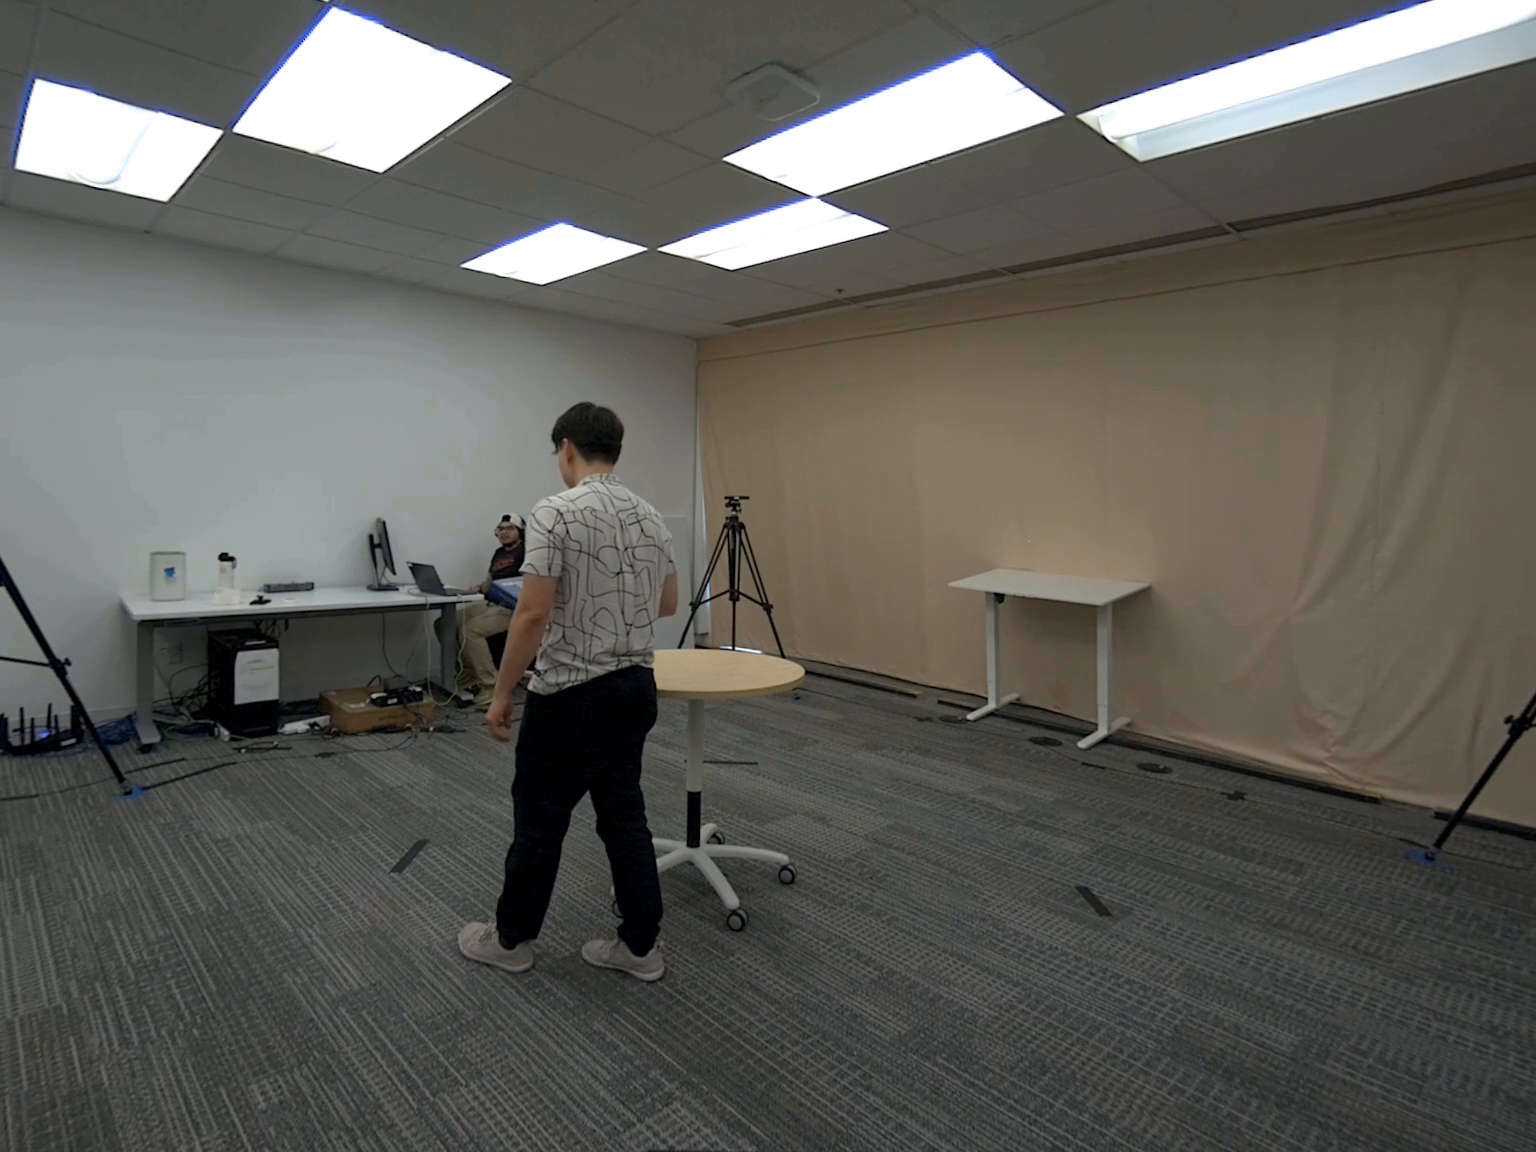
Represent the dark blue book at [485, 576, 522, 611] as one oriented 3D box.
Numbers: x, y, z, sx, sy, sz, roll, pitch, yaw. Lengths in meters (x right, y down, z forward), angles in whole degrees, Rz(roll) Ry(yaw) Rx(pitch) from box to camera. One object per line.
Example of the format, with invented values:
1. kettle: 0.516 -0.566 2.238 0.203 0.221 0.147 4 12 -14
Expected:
1. dark blue book: -0.766 0.072 2.669 0.252 0.045 0.160 24 20 31
